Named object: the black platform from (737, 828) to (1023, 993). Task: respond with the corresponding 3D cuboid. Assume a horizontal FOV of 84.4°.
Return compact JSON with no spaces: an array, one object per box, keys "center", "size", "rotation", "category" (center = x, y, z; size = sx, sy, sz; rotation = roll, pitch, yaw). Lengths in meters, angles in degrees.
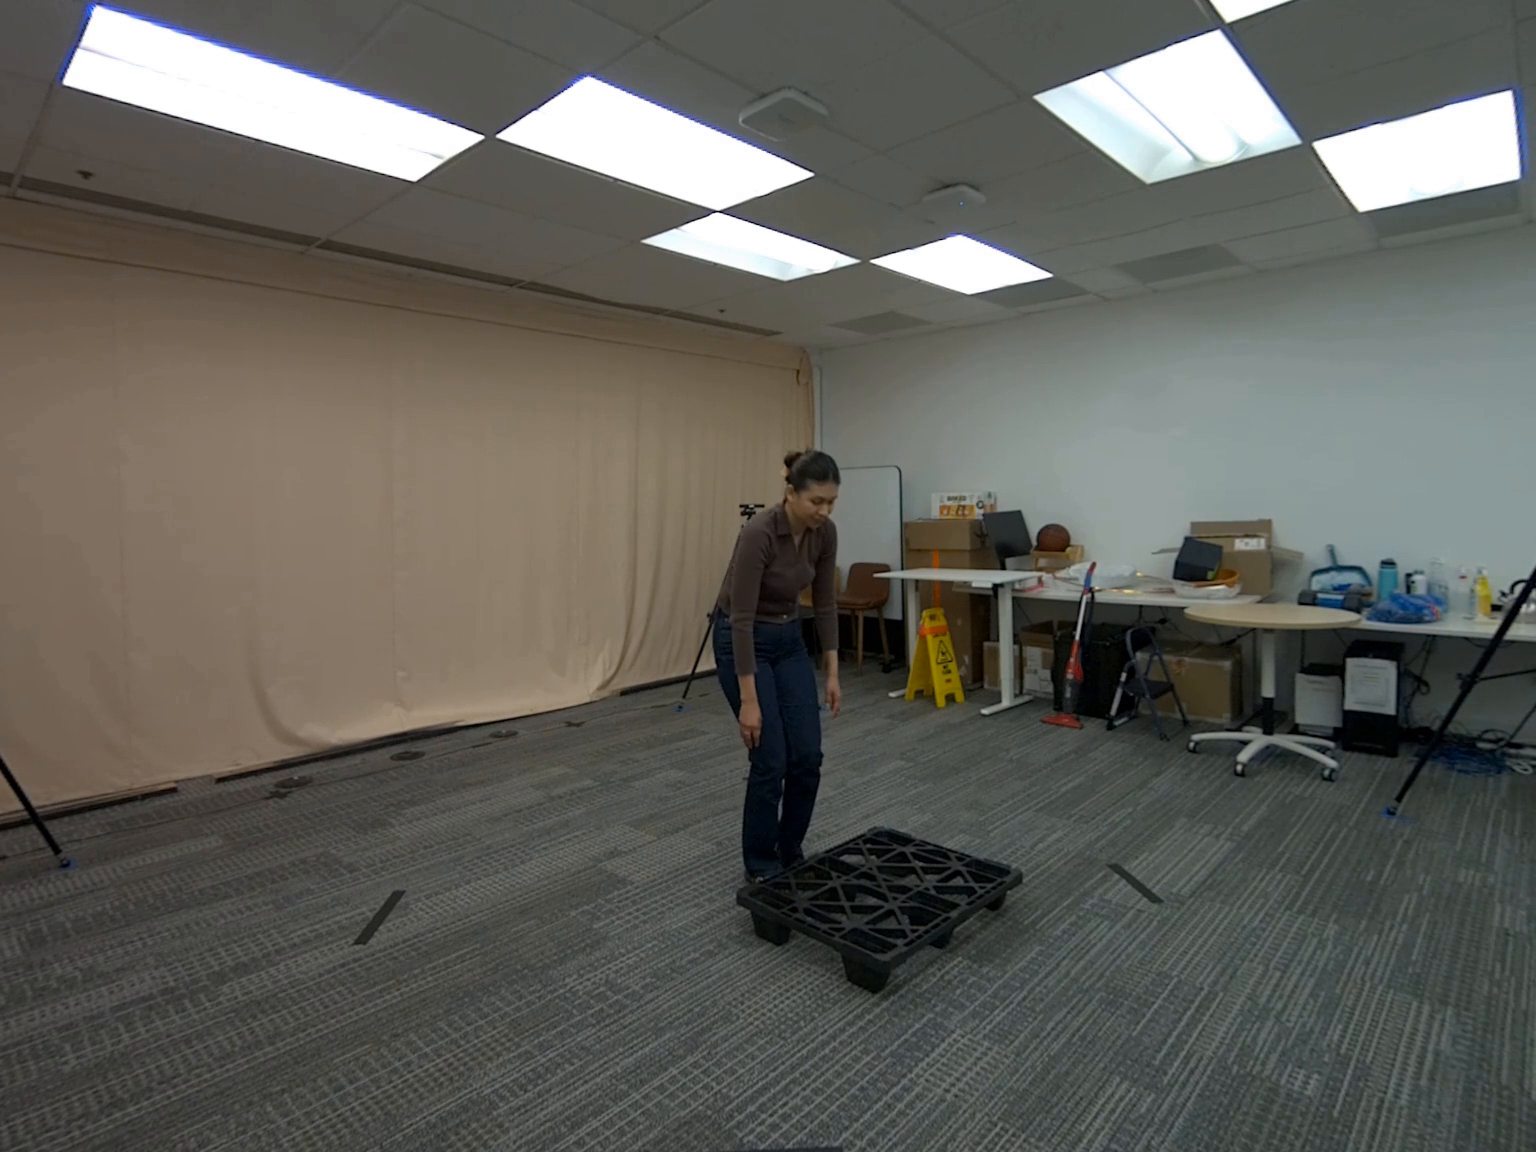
[{"center":[0.383,1.083,2.796],"size":[0.625,0.143,0.781],"rotation":[3,6,45],"category":"black platform"}]
